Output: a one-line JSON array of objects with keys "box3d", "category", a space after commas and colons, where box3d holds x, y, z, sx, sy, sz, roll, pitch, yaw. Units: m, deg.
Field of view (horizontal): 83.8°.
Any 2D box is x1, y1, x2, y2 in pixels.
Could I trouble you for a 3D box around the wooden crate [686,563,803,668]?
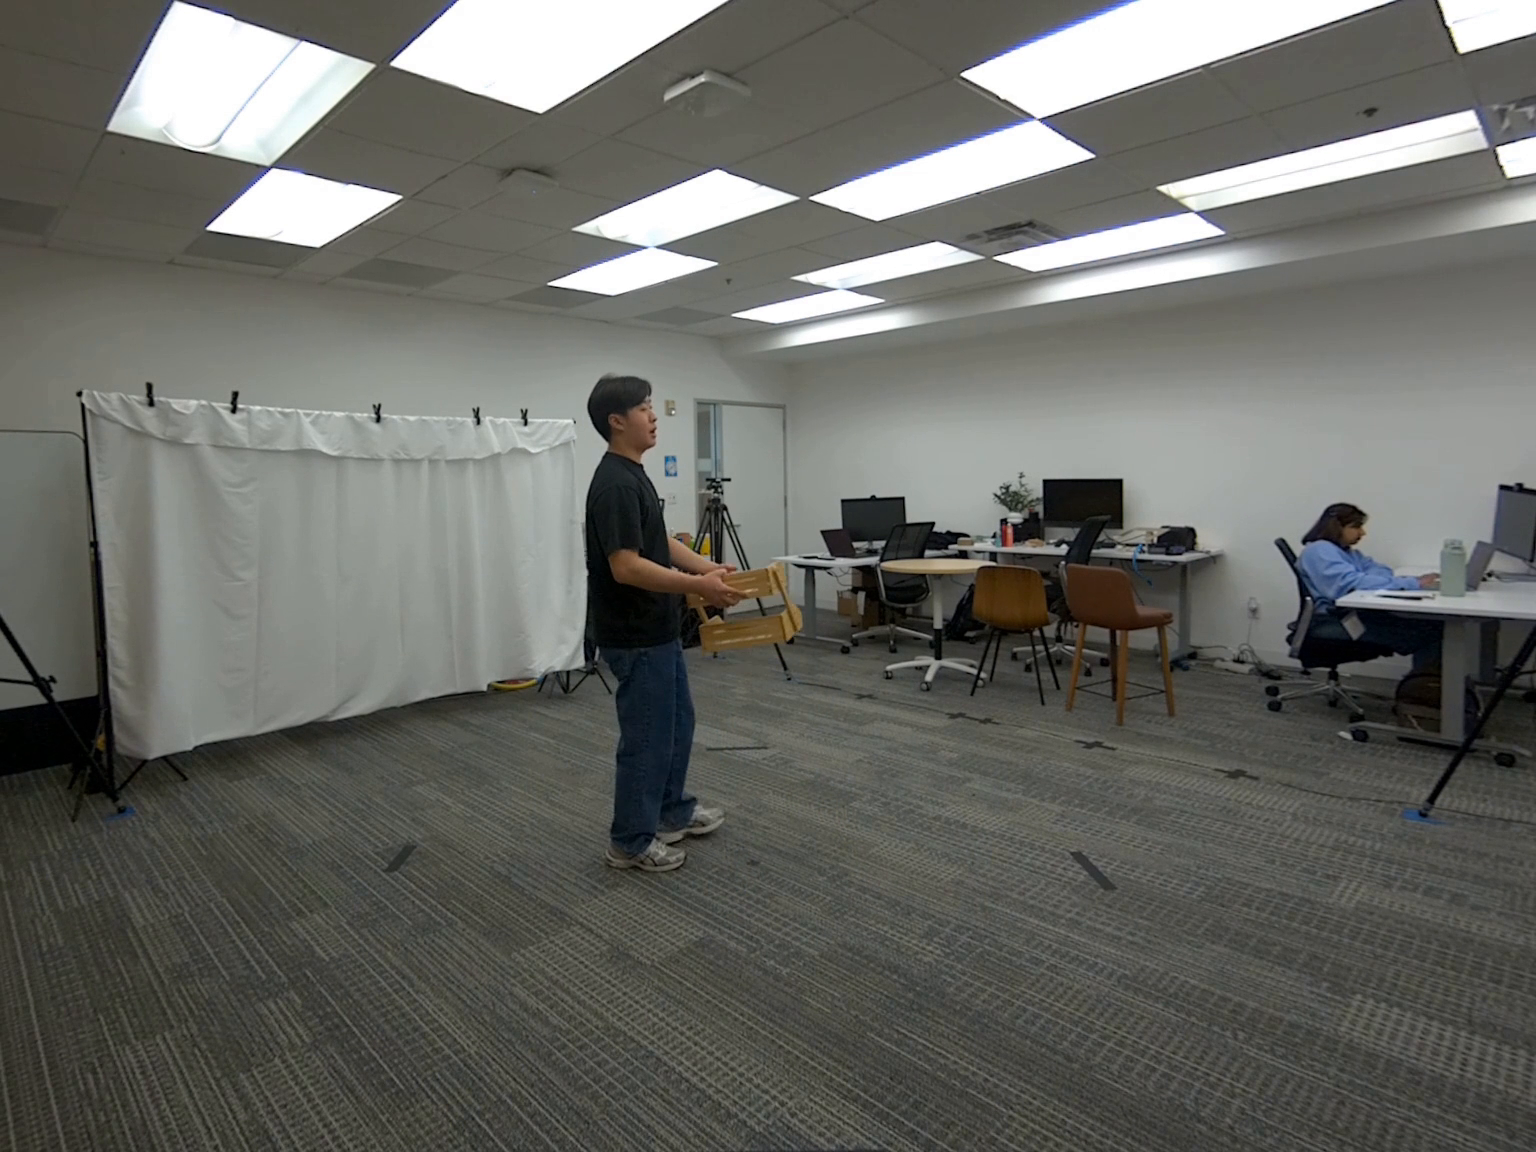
[{"box3d": [-0.080, 0.097, 2.971, 0.329, 0.272, 0.299, -10, 6, 17], "category": "wooden crate"}]
